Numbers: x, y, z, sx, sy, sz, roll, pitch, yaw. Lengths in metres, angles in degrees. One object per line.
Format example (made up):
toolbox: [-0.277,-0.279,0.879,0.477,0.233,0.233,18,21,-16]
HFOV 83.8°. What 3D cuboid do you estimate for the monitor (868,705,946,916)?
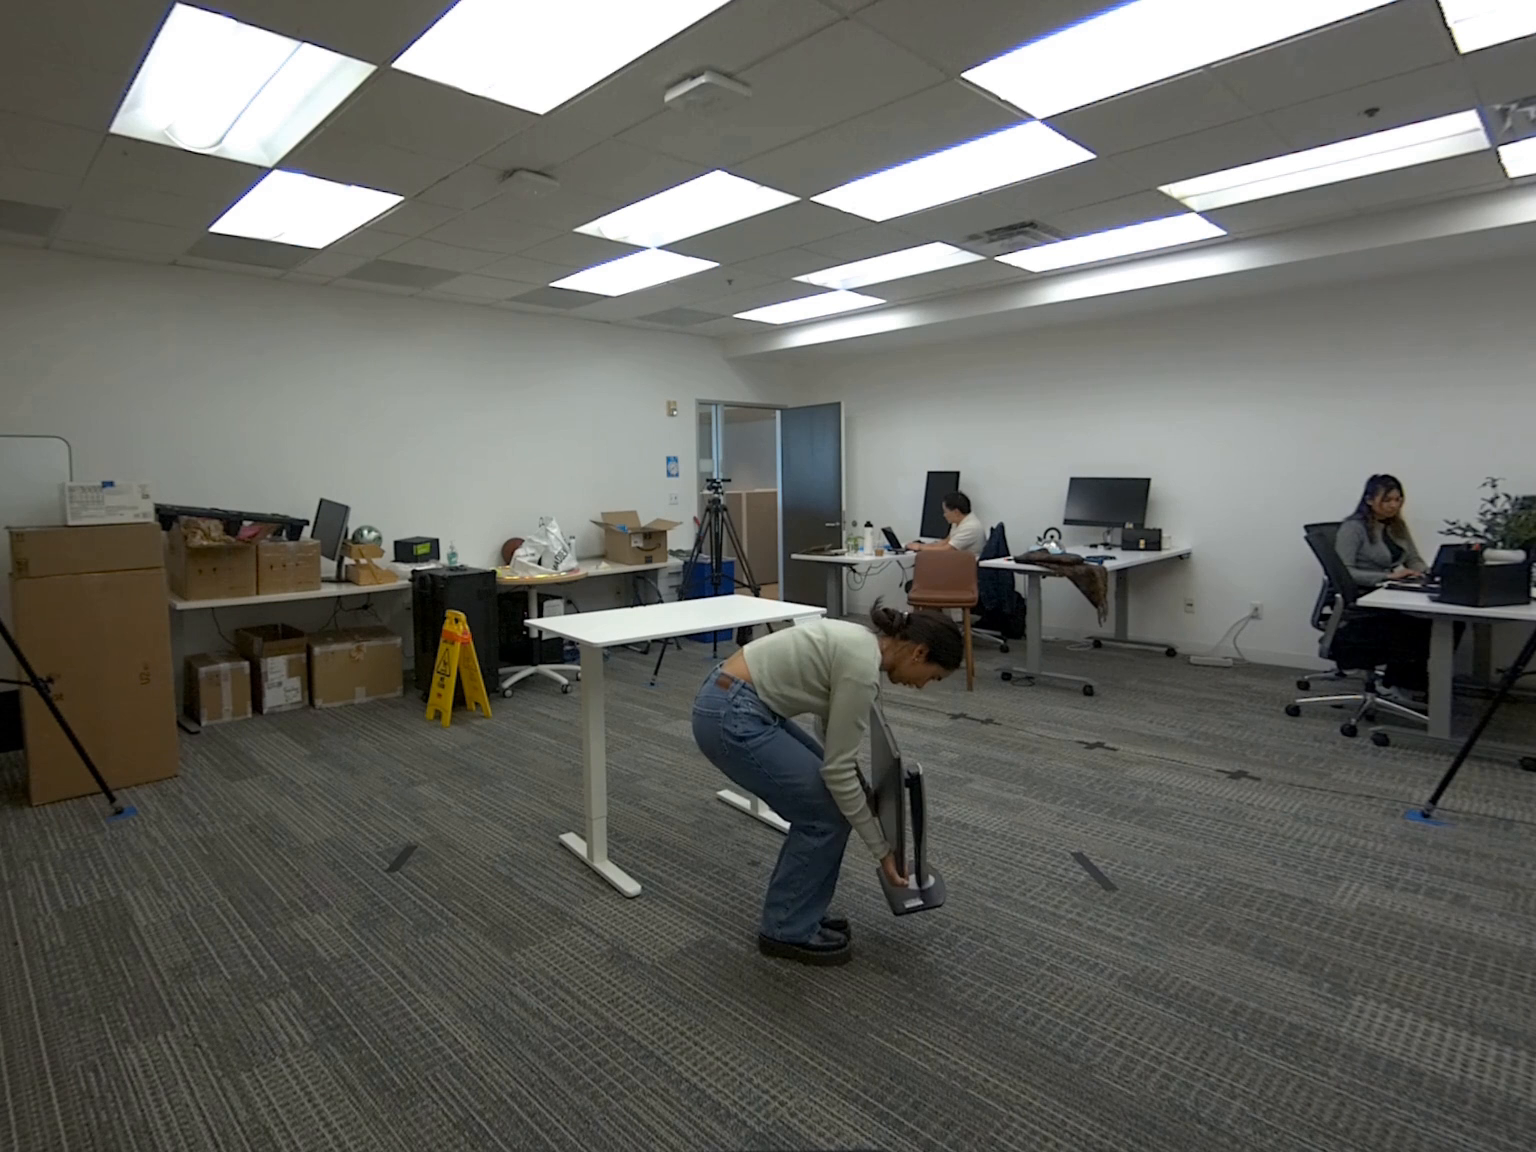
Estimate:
monitor: [0.388,0.682,2.530,0.187,0.520,0.542,-12,5,-1]
